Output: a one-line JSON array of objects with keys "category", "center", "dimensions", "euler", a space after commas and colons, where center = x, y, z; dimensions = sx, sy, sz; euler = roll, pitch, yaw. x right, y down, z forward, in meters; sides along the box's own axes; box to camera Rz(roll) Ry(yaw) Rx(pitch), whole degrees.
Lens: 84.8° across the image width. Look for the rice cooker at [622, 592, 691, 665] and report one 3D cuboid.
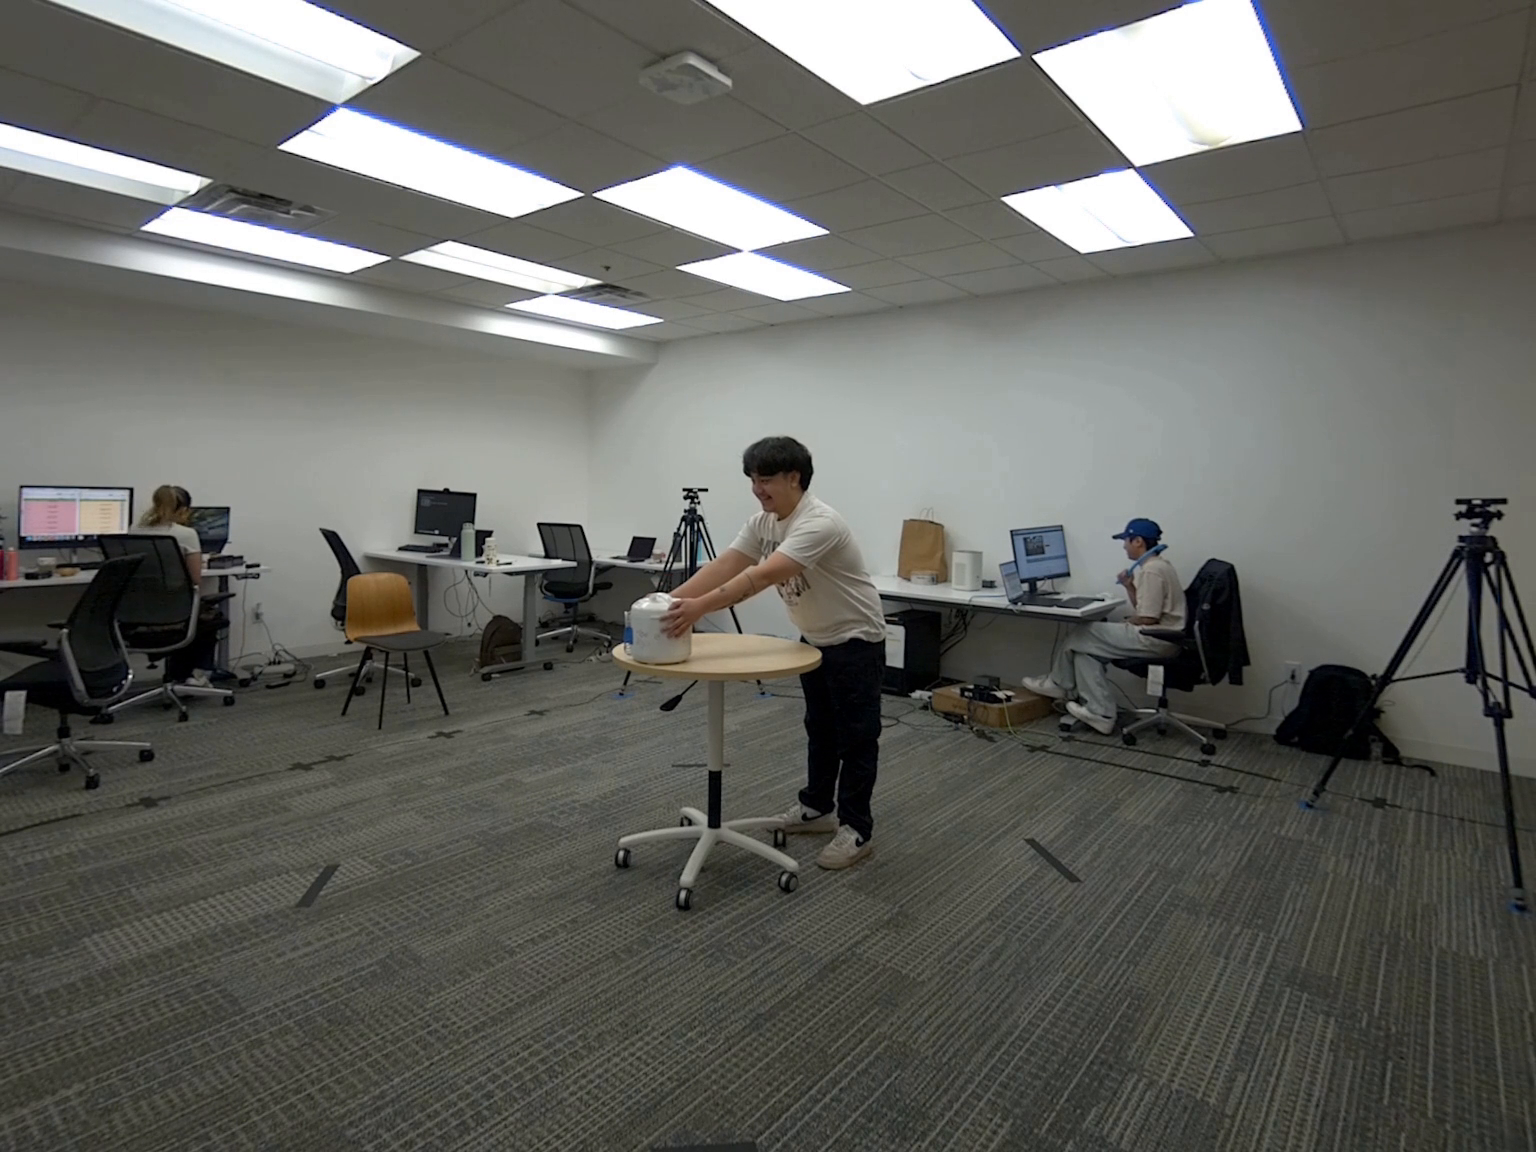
[{"category": "rice cooker", "center": [-0.375, 0.174, 2.932], "dimensions": [0.211, 0.231, 0.228], "euler": [-3, 8, -33]}]
